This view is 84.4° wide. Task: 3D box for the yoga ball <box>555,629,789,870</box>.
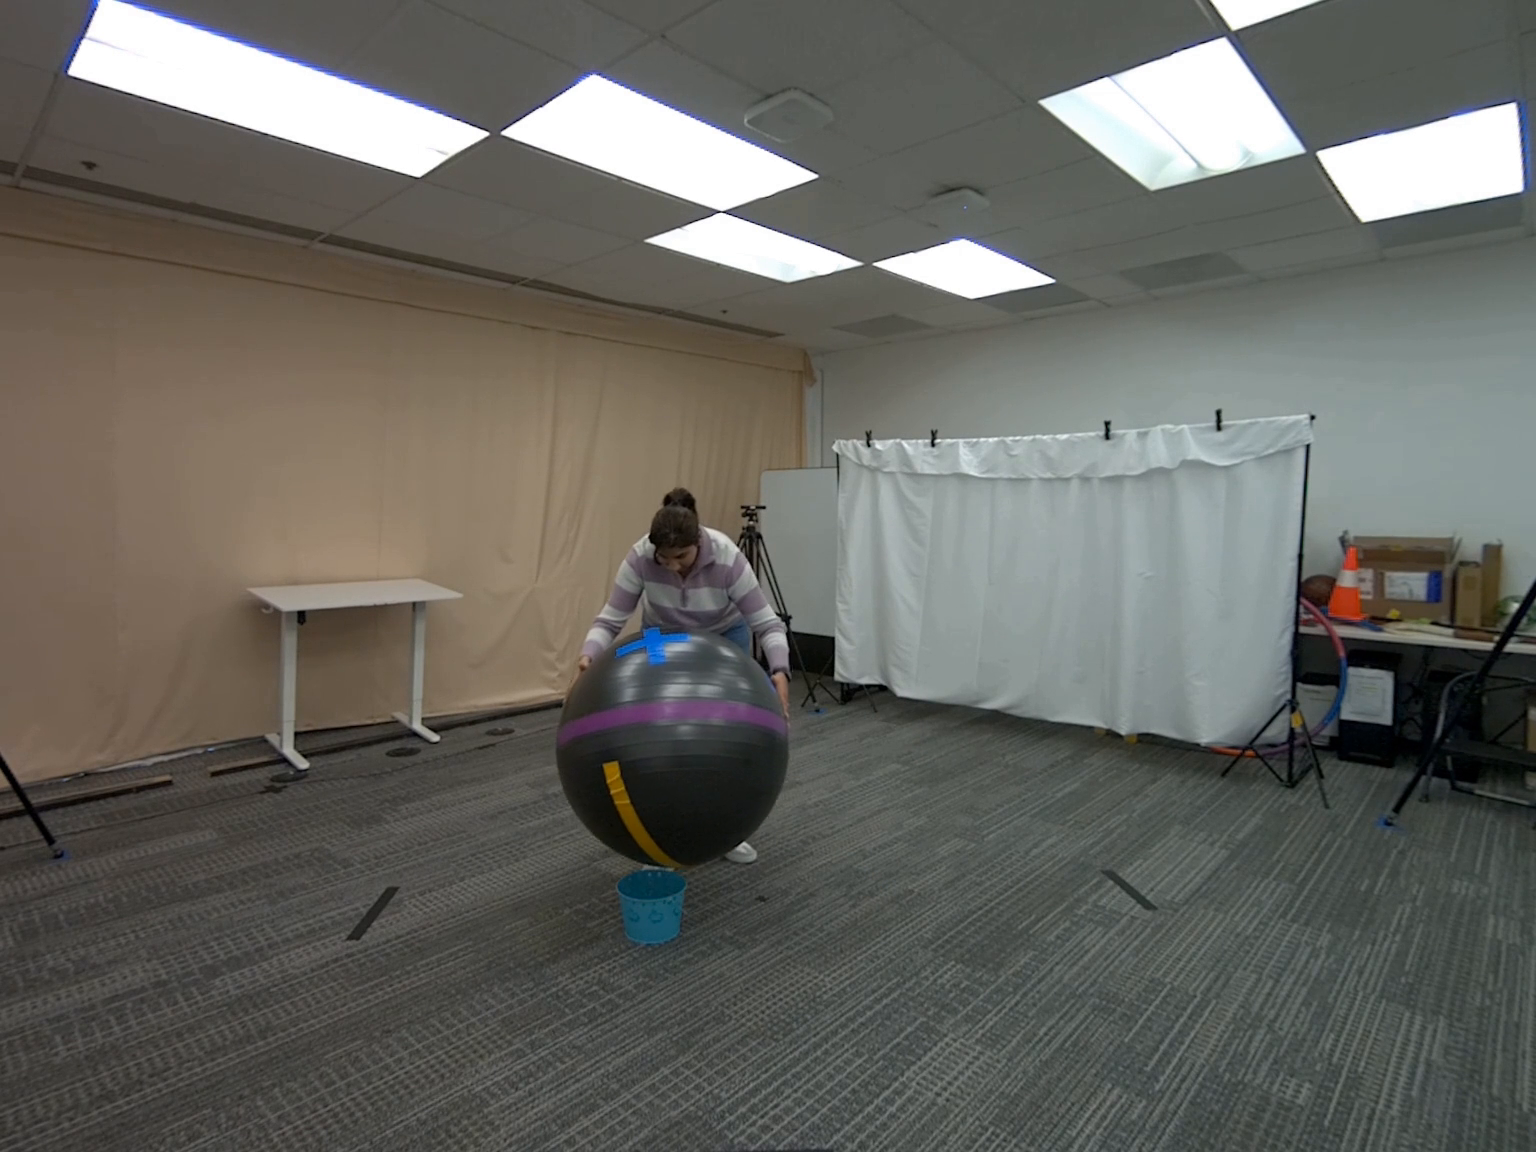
[{"bbox_3d":[-0.307,0.553,2.743,0.757,0.756,0.760,0,4,-2],"label":"yoga ball"}]
